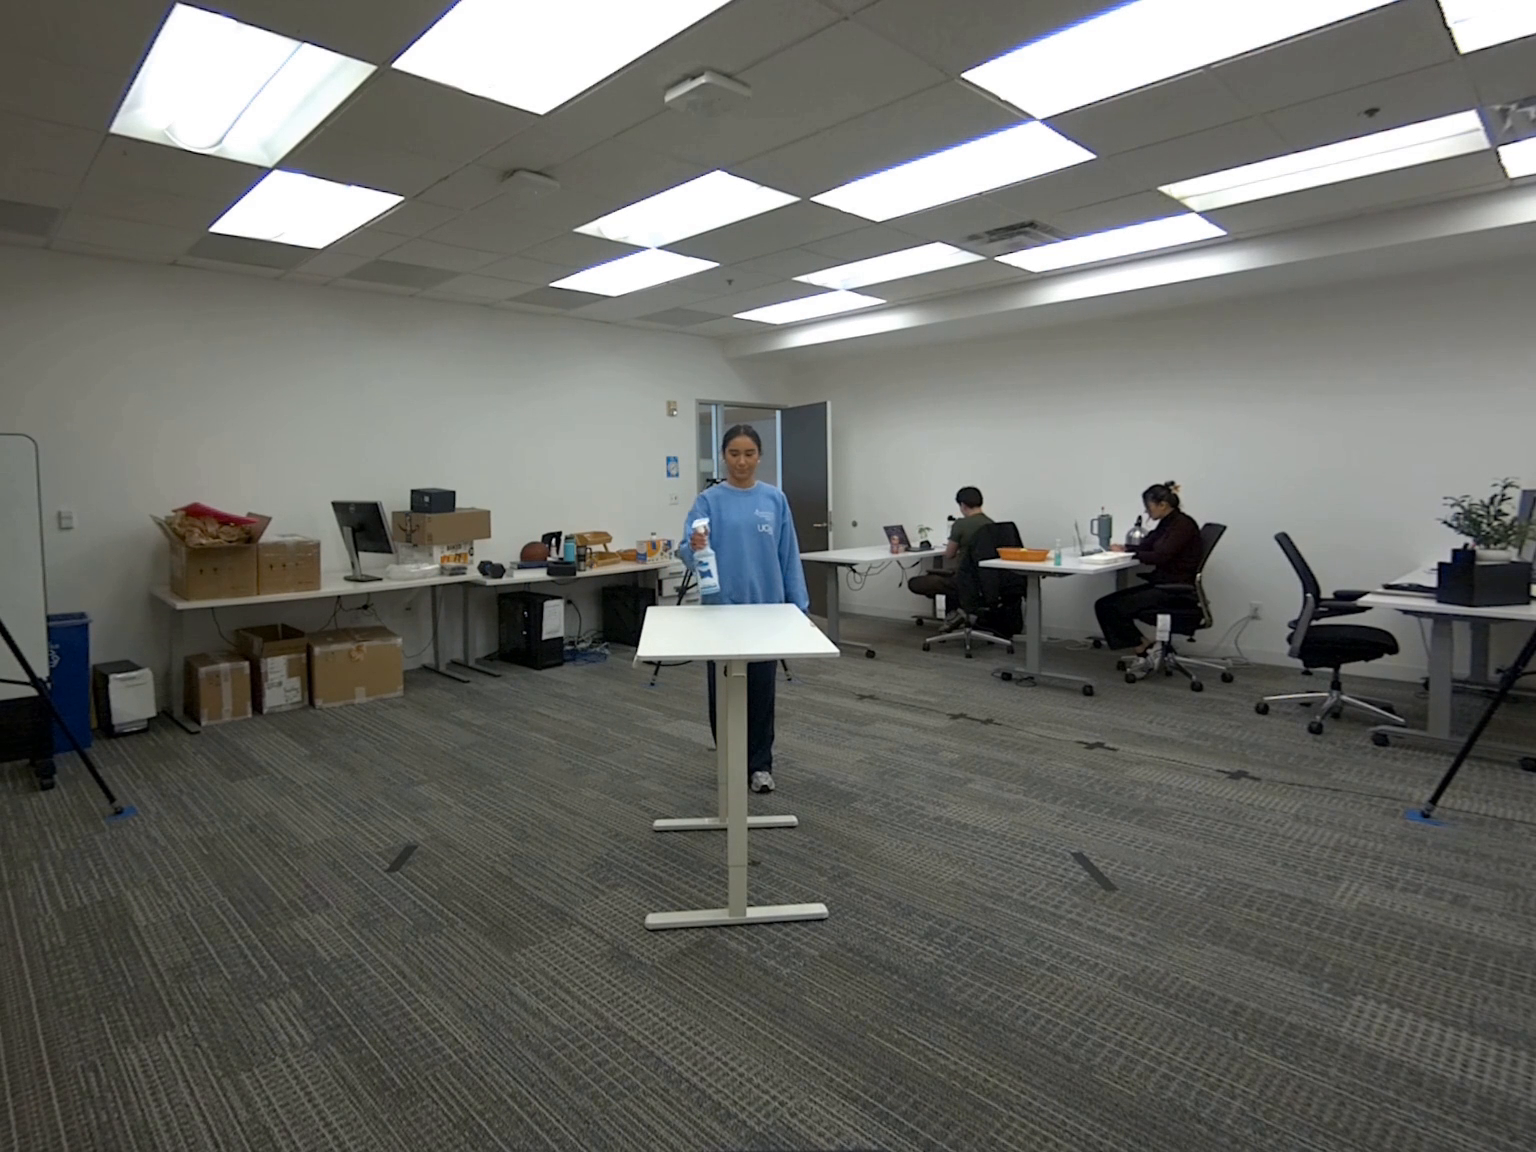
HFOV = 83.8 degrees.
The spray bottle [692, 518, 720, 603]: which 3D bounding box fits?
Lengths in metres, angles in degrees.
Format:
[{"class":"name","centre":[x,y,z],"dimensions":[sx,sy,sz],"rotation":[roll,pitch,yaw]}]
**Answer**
[{"class":"spray bottle","centre":[-0.253,-0.074,3.394],"dimensions":[0.088,0.297,0.088],"rotation":[-6,-1,-20]}]
